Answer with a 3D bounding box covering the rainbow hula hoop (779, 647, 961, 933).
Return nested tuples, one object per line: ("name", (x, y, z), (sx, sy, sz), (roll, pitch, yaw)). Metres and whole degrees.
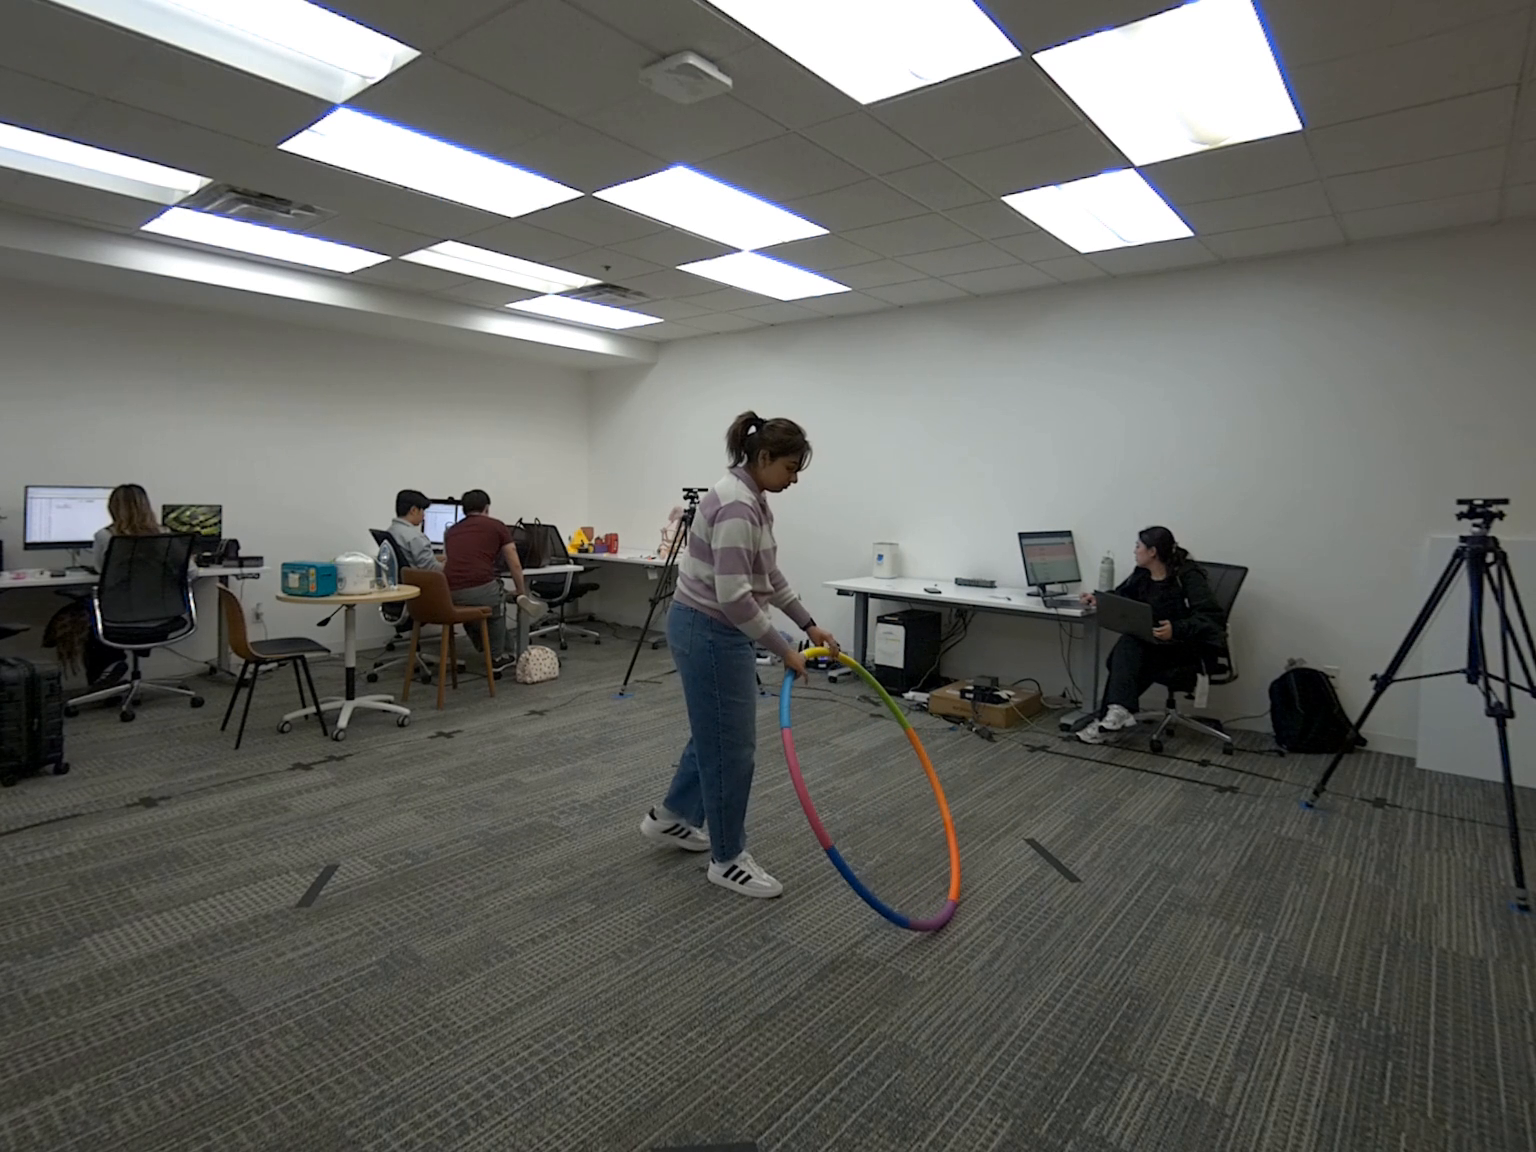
("rainbow hula hoop", (0.361, 0.692, 2.903), (0.036, 0.997, 0.954), (-35, -14, 27))
